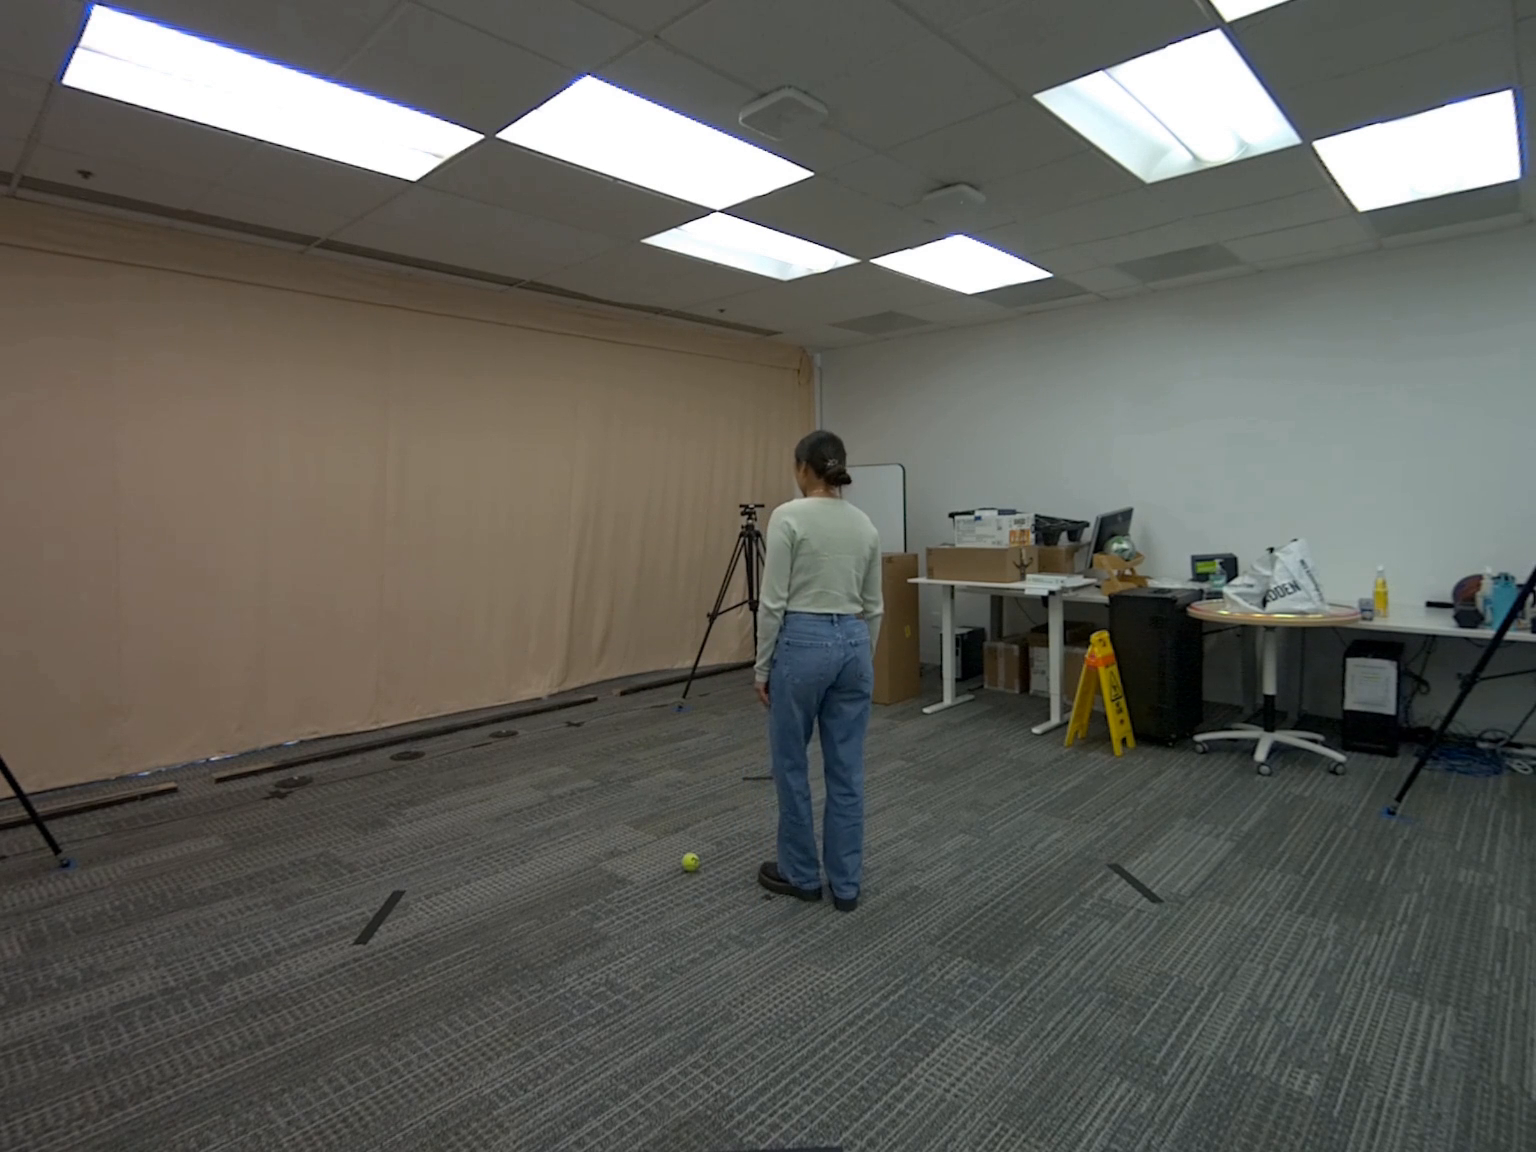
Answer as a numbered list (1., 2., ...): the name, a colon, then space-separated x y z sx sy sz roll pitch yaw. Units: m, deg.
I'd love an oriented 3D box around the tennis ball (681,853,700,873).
1. tennis ball: -0.300 1.074 3.211 0.066 0.066 0.067 -1 4 -2
